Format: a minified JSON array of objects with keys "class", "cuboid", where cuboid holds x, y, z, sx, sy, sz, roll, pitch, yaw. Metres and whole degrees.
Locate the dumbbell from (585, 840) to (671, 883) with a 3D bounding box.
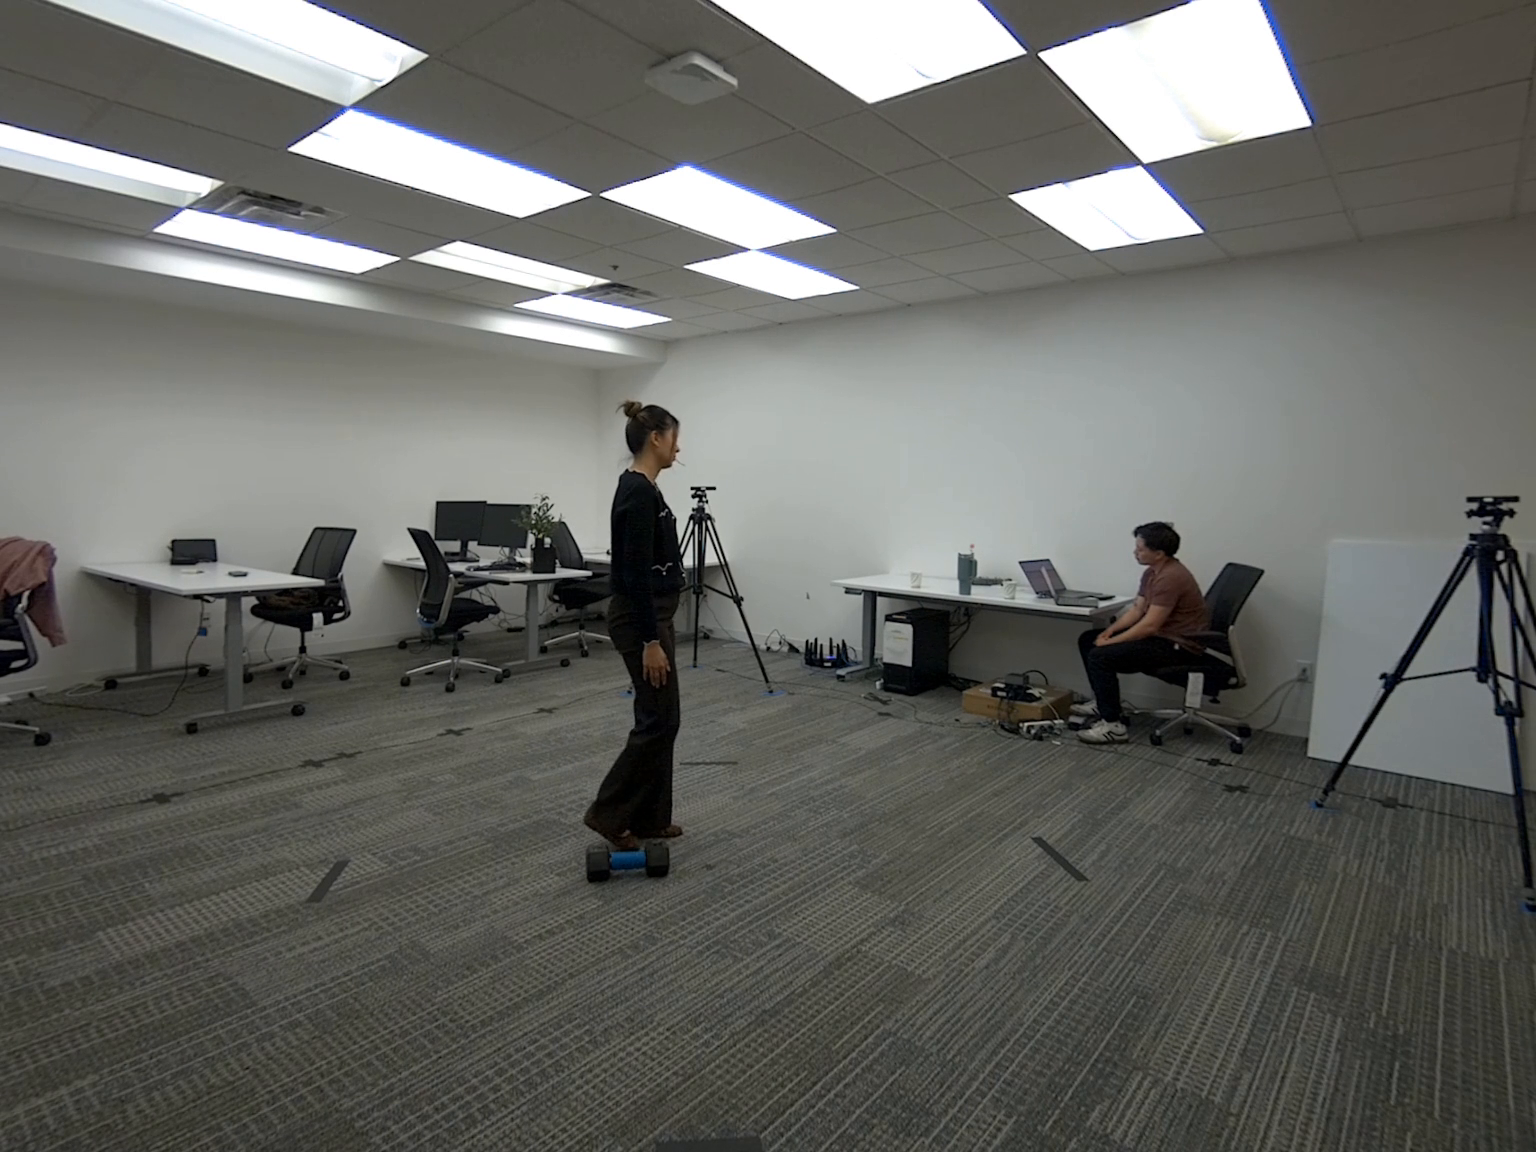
[{"class":"dumbbell","cuboid":[-0.512,1.015,3.036,0.289,0.120,0.112,0,34,-13]}]
